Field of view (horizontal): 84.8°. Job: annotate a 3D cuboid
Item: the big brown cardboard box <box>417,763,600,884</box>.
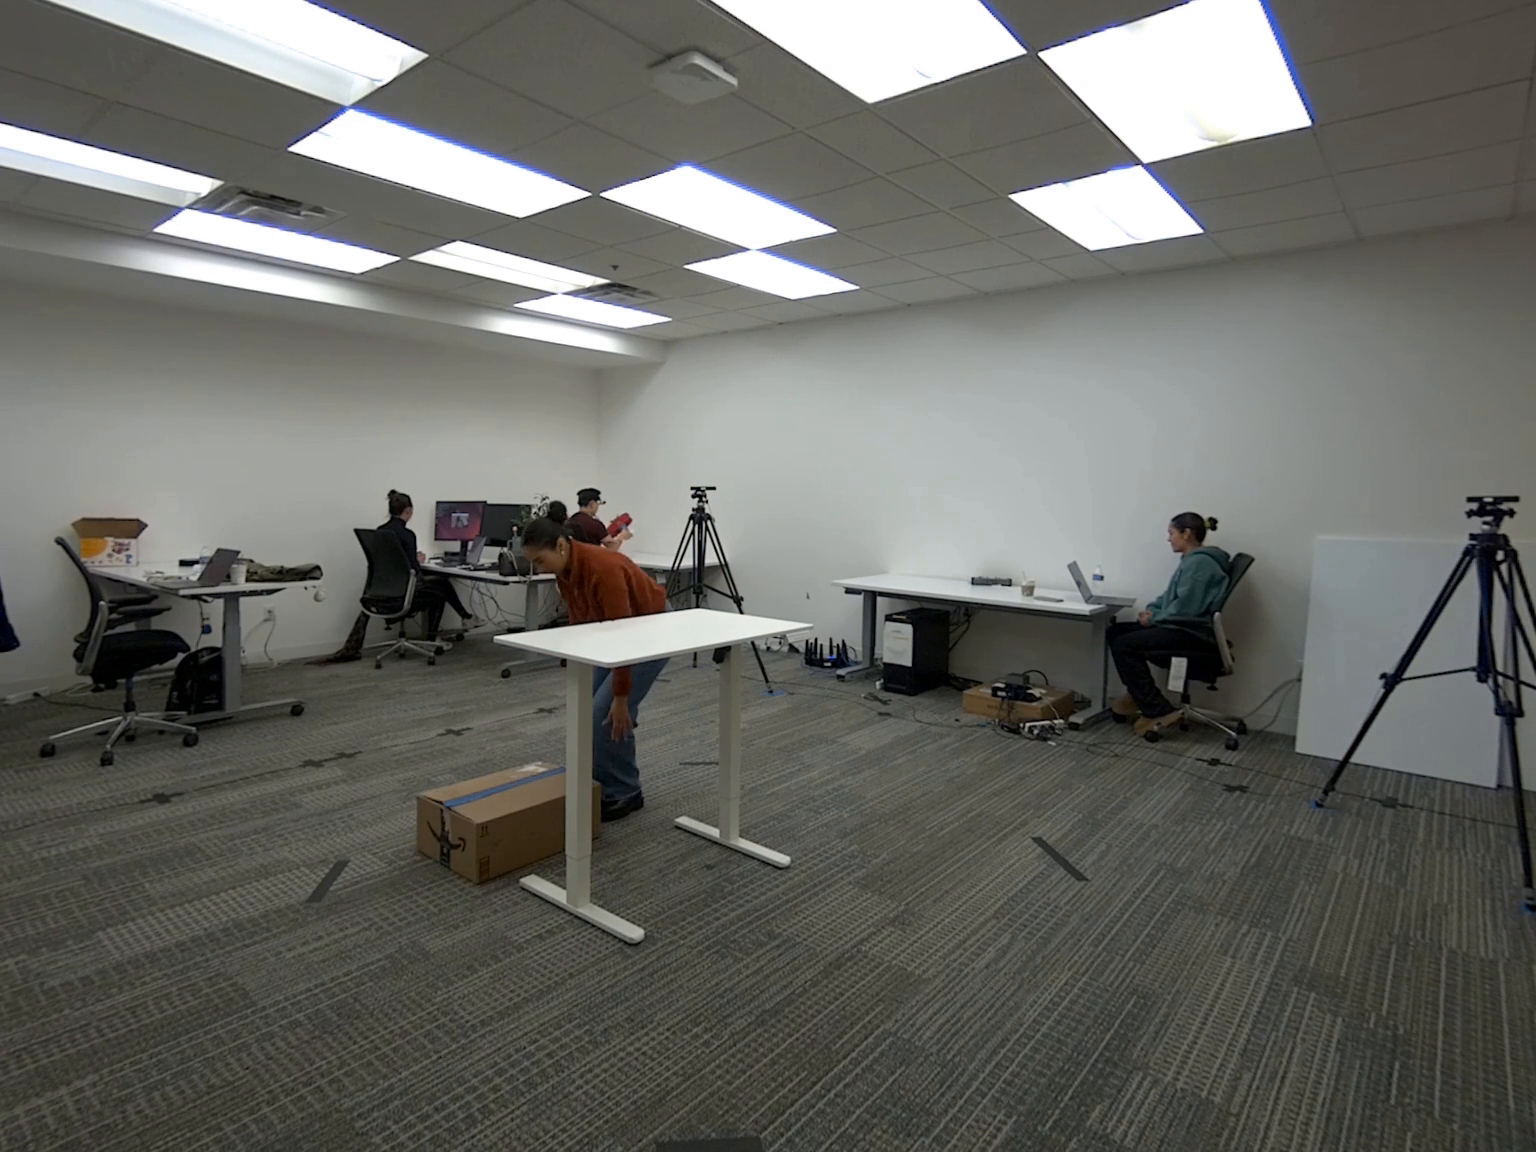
[{"bbox_3d":[-1.007,0.925,3.286,0.431,0.232,0.572,4,7,39],"label":"big brown cardboard box"}]
